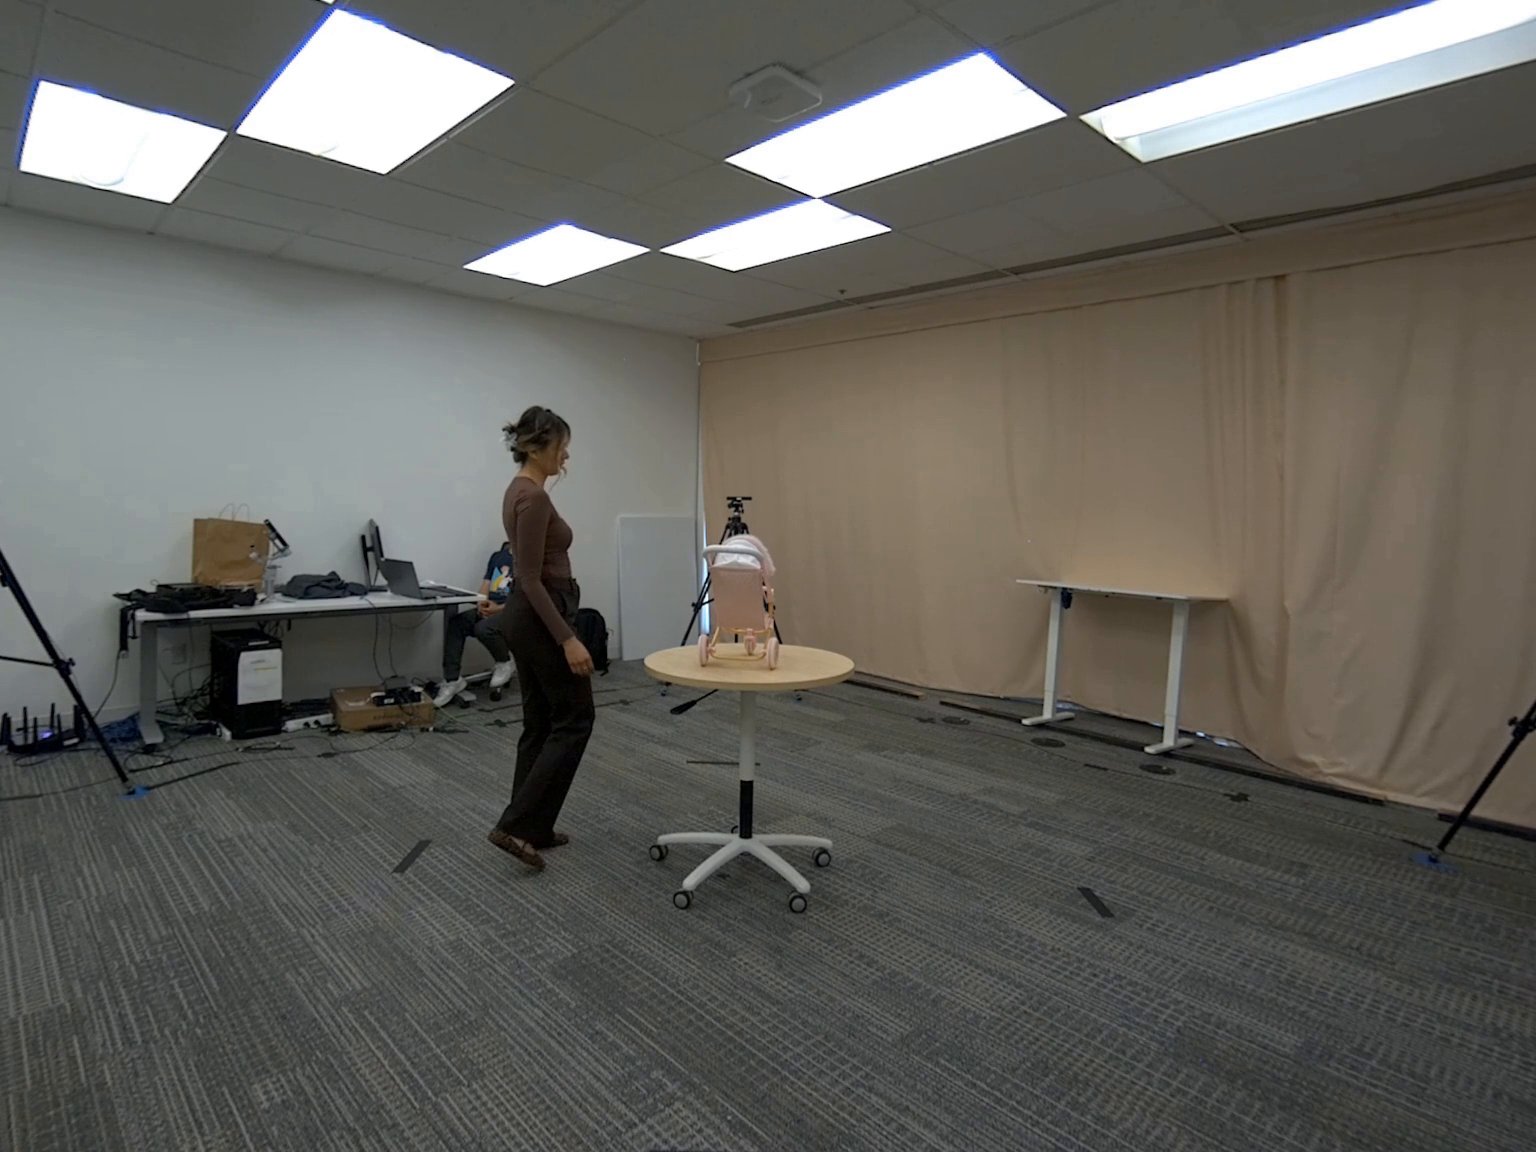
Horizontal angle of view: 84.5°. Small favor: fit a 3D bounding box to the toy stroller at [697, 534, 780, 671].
[{"bbox_3d":[-0.098,0.091,3.016,0.285,0.528,0.342,2,19,13],"label":"toy stroller"}]
